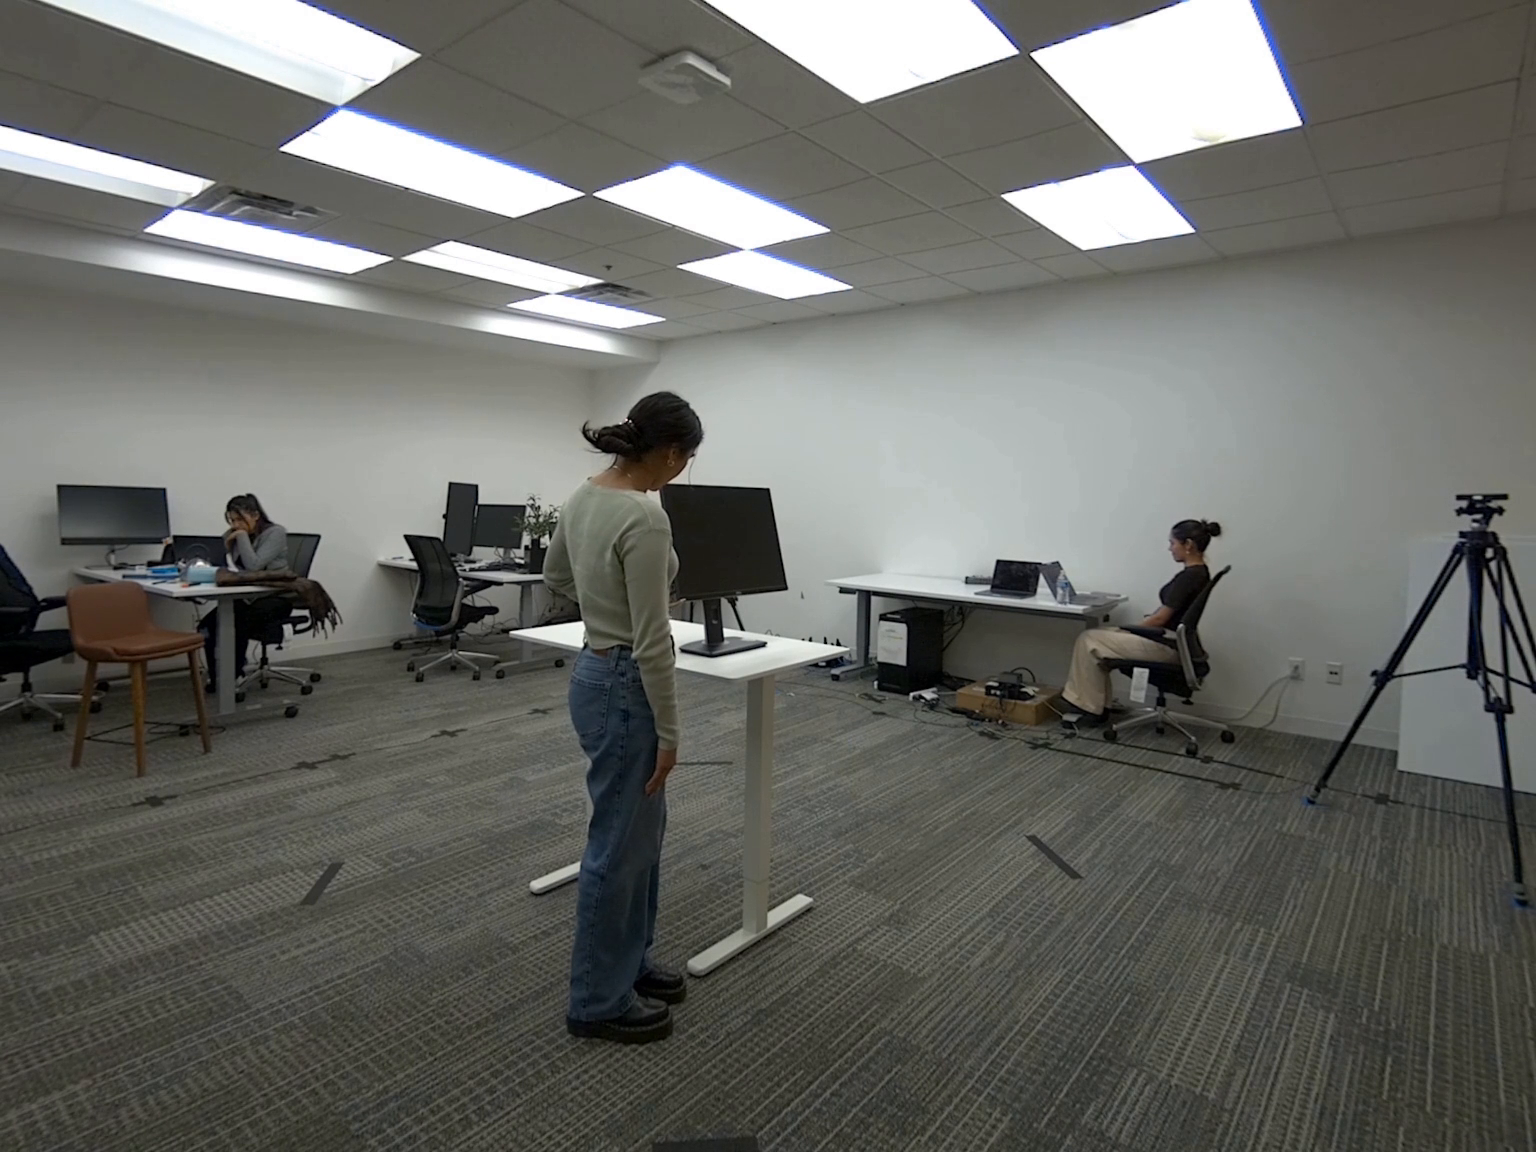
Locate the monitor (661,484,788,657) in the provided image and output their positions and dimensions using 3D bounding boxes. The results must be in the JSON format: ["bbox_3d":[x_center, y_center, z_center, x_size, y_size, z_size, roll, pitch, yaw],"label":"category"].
[{"bbox_3d":[-0.157,-0.024,2.686,0.193,0.522,0.523,0,2,36],"label":"monitor"}]
